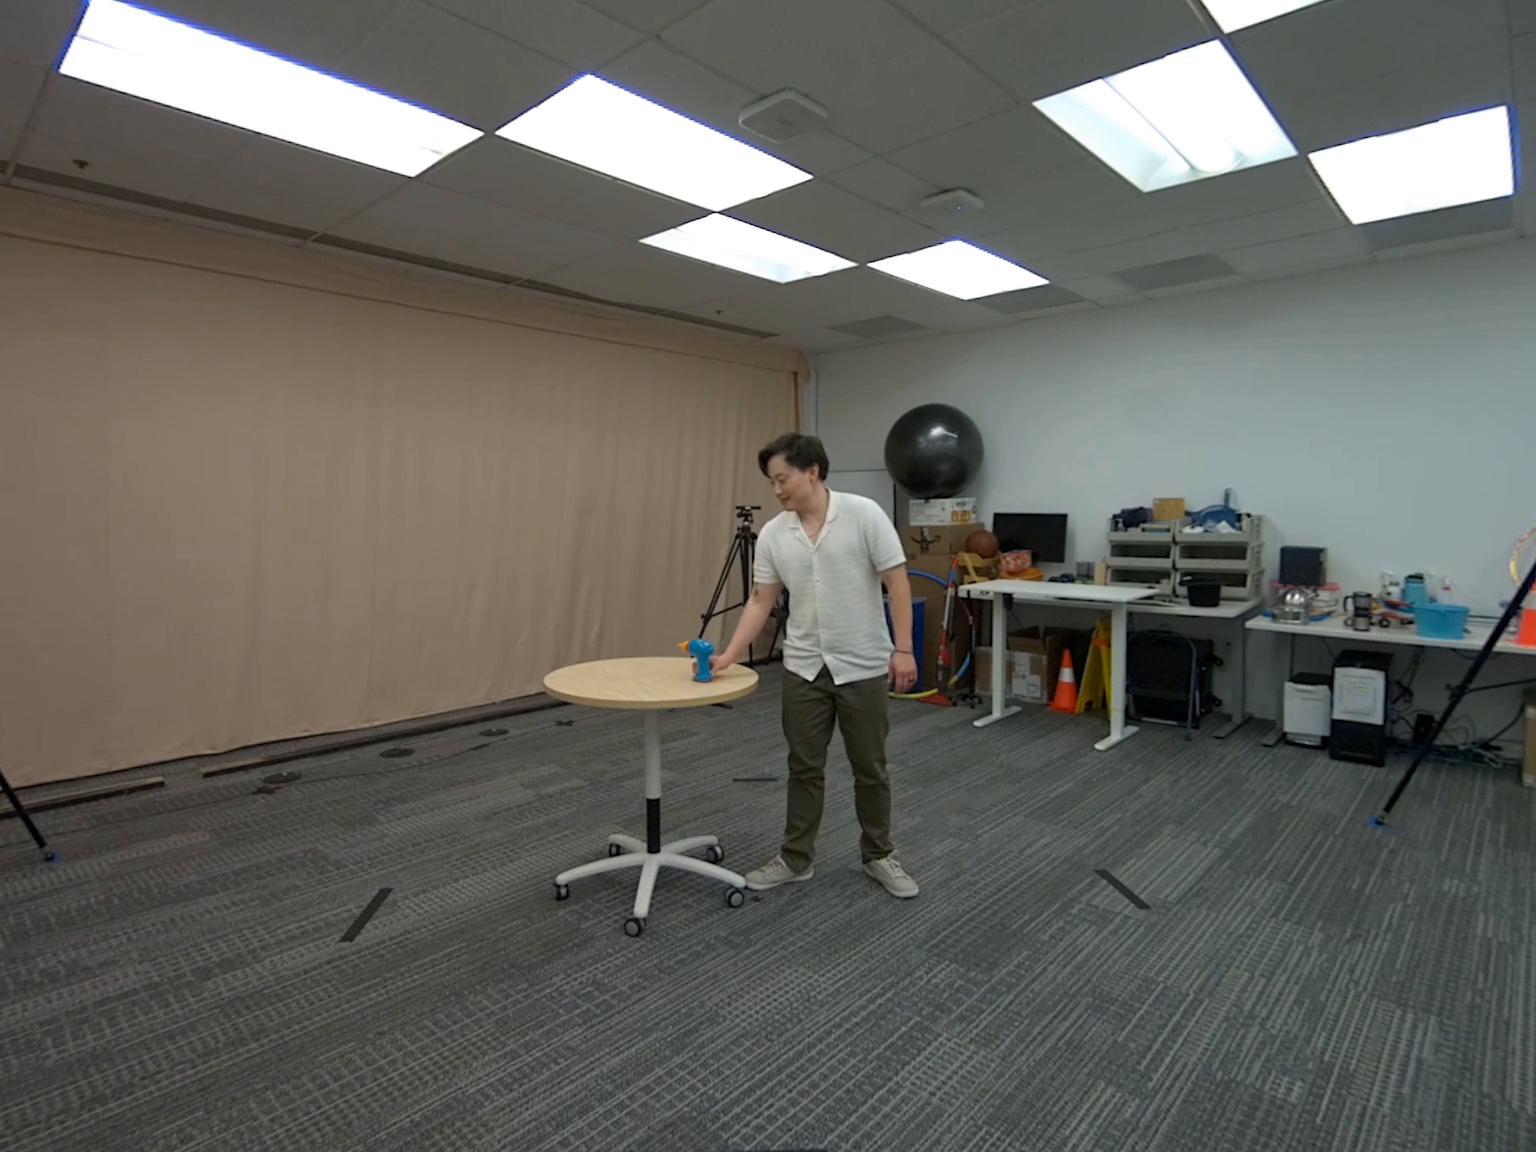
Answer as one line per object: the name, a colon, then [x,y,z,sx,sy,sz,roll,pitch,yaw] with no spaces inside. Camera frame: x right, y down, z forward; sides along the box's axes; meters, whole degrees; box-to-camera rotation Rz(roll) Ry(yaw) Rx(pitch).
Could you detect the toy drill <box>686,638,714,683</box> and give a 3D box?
toy drill: [-0.260,0.293,2.966,0.175,0.146,0.059,2,4,41]
